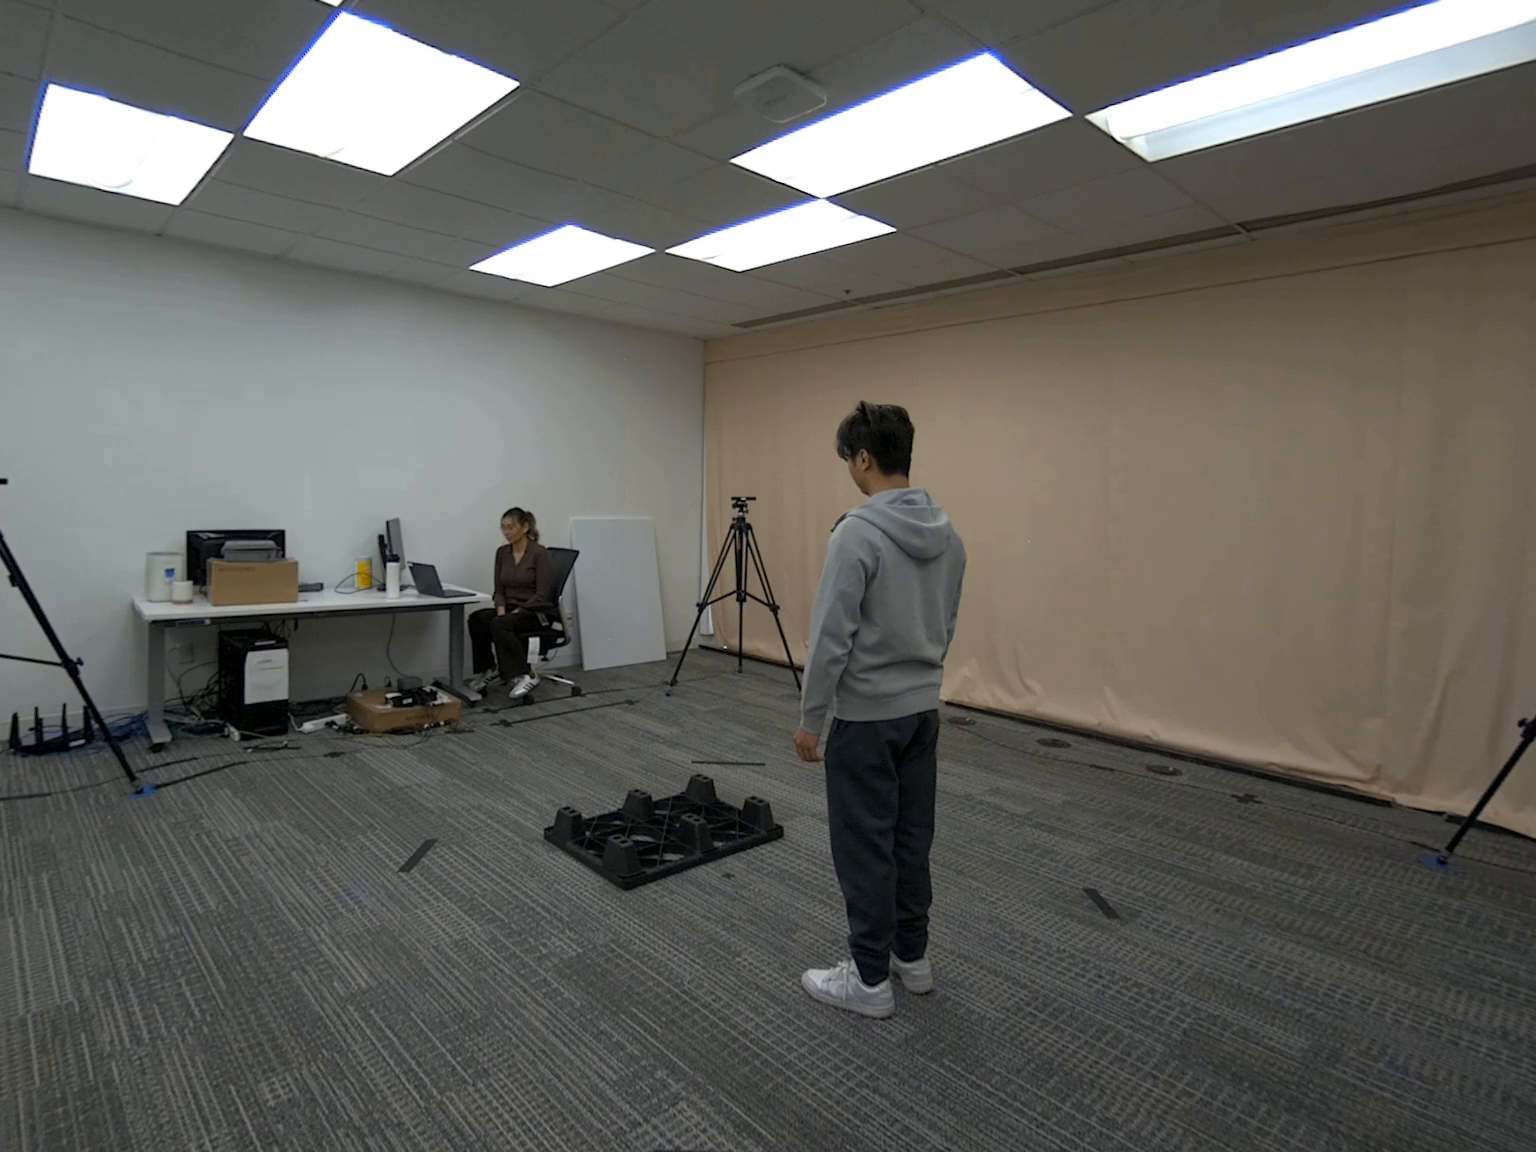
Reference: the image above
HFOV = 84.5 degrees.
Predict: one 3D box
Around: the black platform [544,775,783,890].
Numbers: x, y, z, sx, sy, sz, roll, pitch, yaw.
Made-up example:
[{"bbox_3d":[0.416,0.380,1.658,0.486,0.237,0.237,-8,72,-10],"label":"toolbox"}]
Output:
[{"bbox_3d":[-0.427,1.005,3.436,0.787,0.143,0.620,-4,6,-42],"label":"black platform"}]
